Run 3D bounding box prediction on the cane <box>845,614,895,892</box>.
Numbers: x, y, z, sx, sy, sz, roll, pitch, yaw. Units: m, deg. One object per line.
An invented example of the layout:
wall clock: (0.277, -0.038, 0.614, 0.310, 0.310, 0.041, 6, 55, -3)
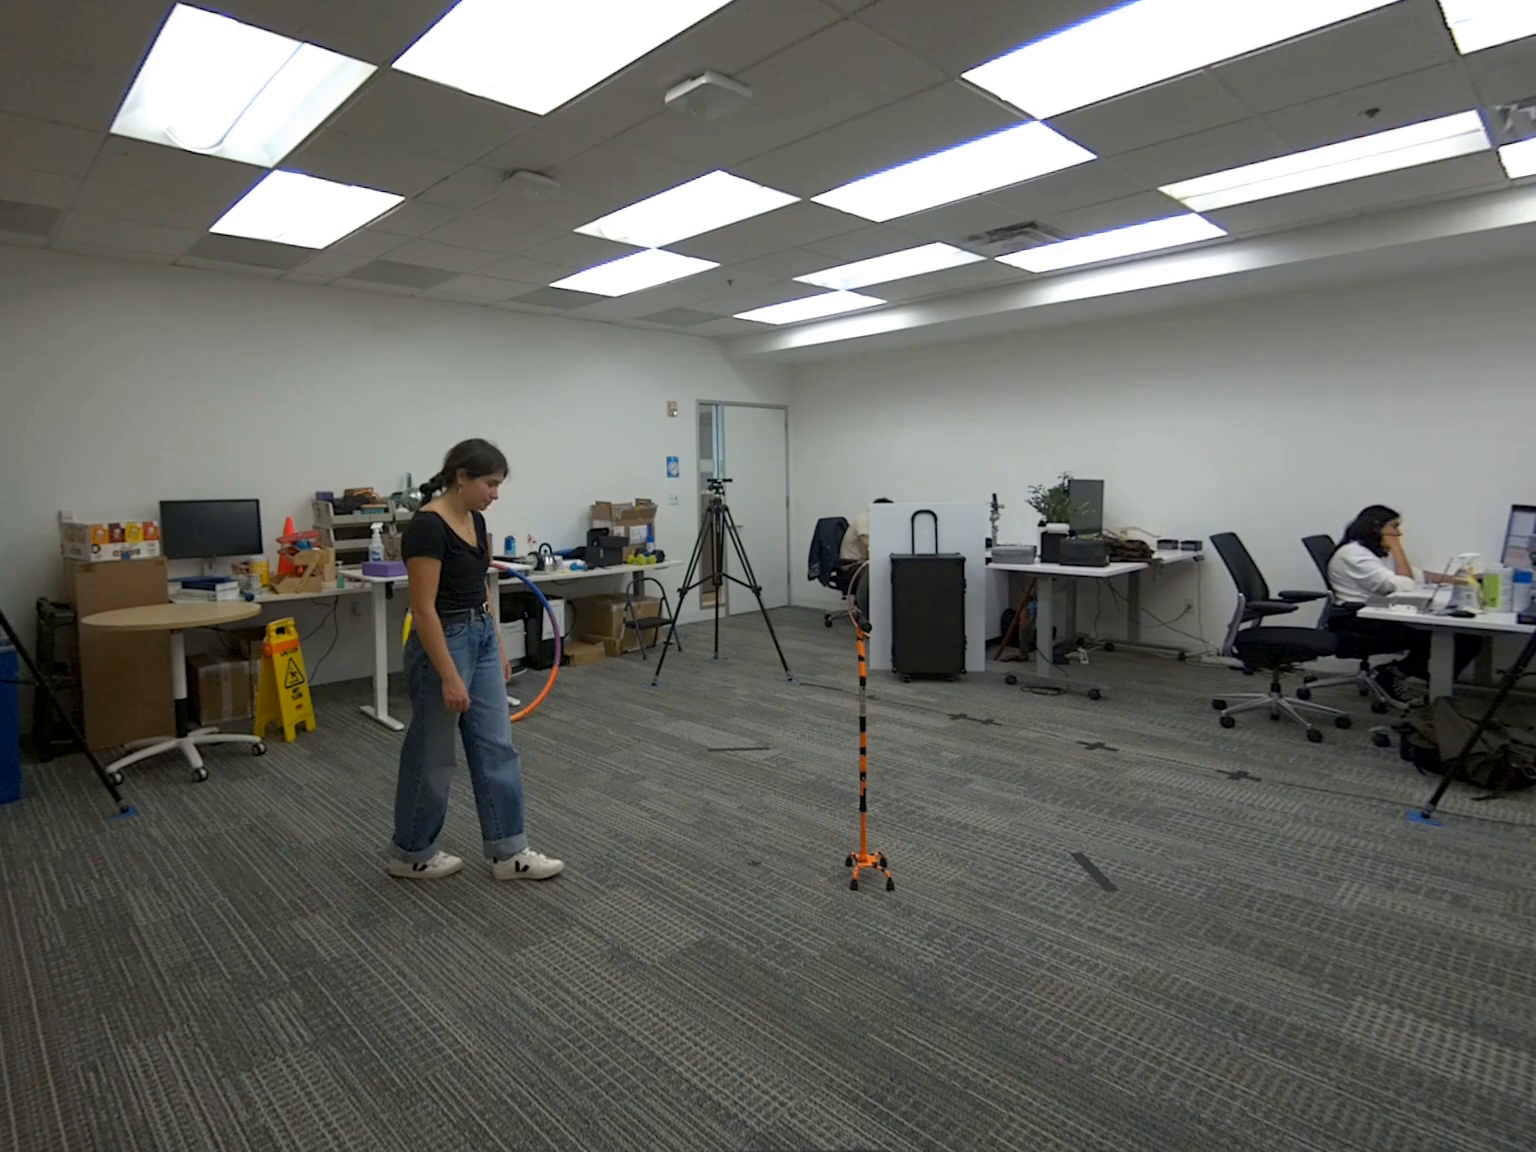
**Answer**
cane: (0.347, 0.596, 2.951, 0.152, 0.905, 0.207, -1, 4, 1)
